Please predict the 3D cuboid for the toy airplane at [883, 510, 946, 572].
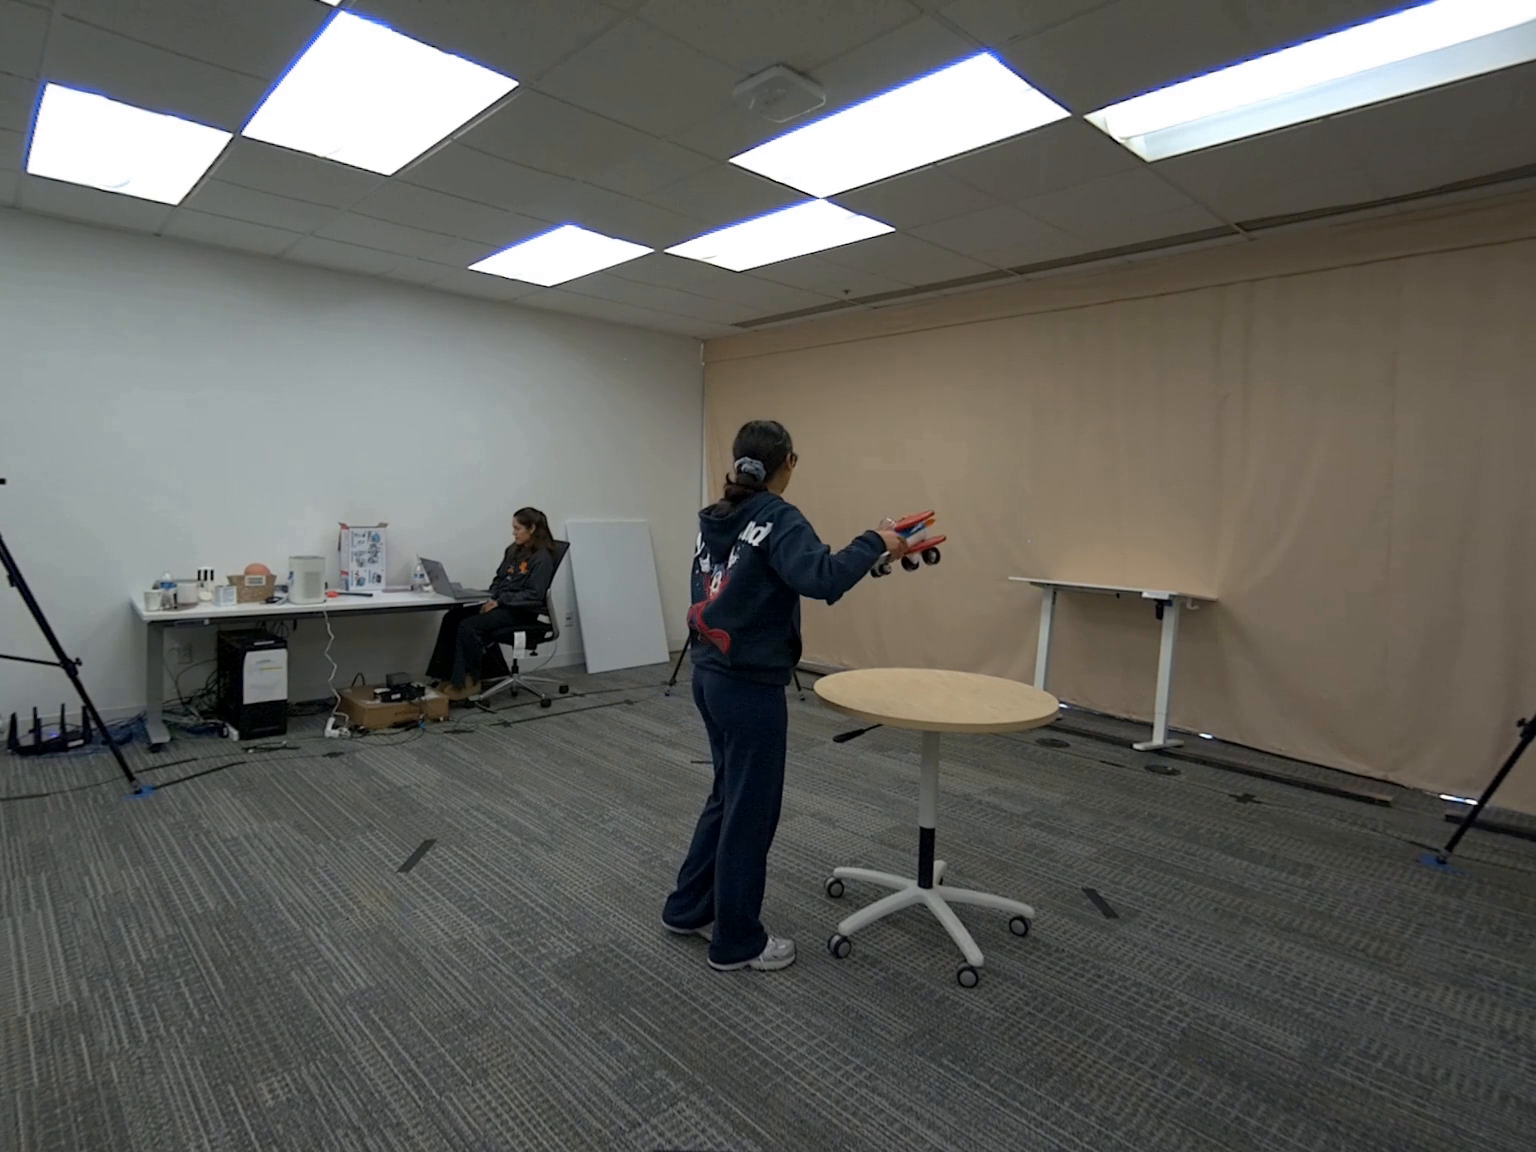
[{"bbox_3d":[0.381,-0.089,2.424,0.254,0.157,0.254,-17,-6,24],"label":"toy airplane"}]
